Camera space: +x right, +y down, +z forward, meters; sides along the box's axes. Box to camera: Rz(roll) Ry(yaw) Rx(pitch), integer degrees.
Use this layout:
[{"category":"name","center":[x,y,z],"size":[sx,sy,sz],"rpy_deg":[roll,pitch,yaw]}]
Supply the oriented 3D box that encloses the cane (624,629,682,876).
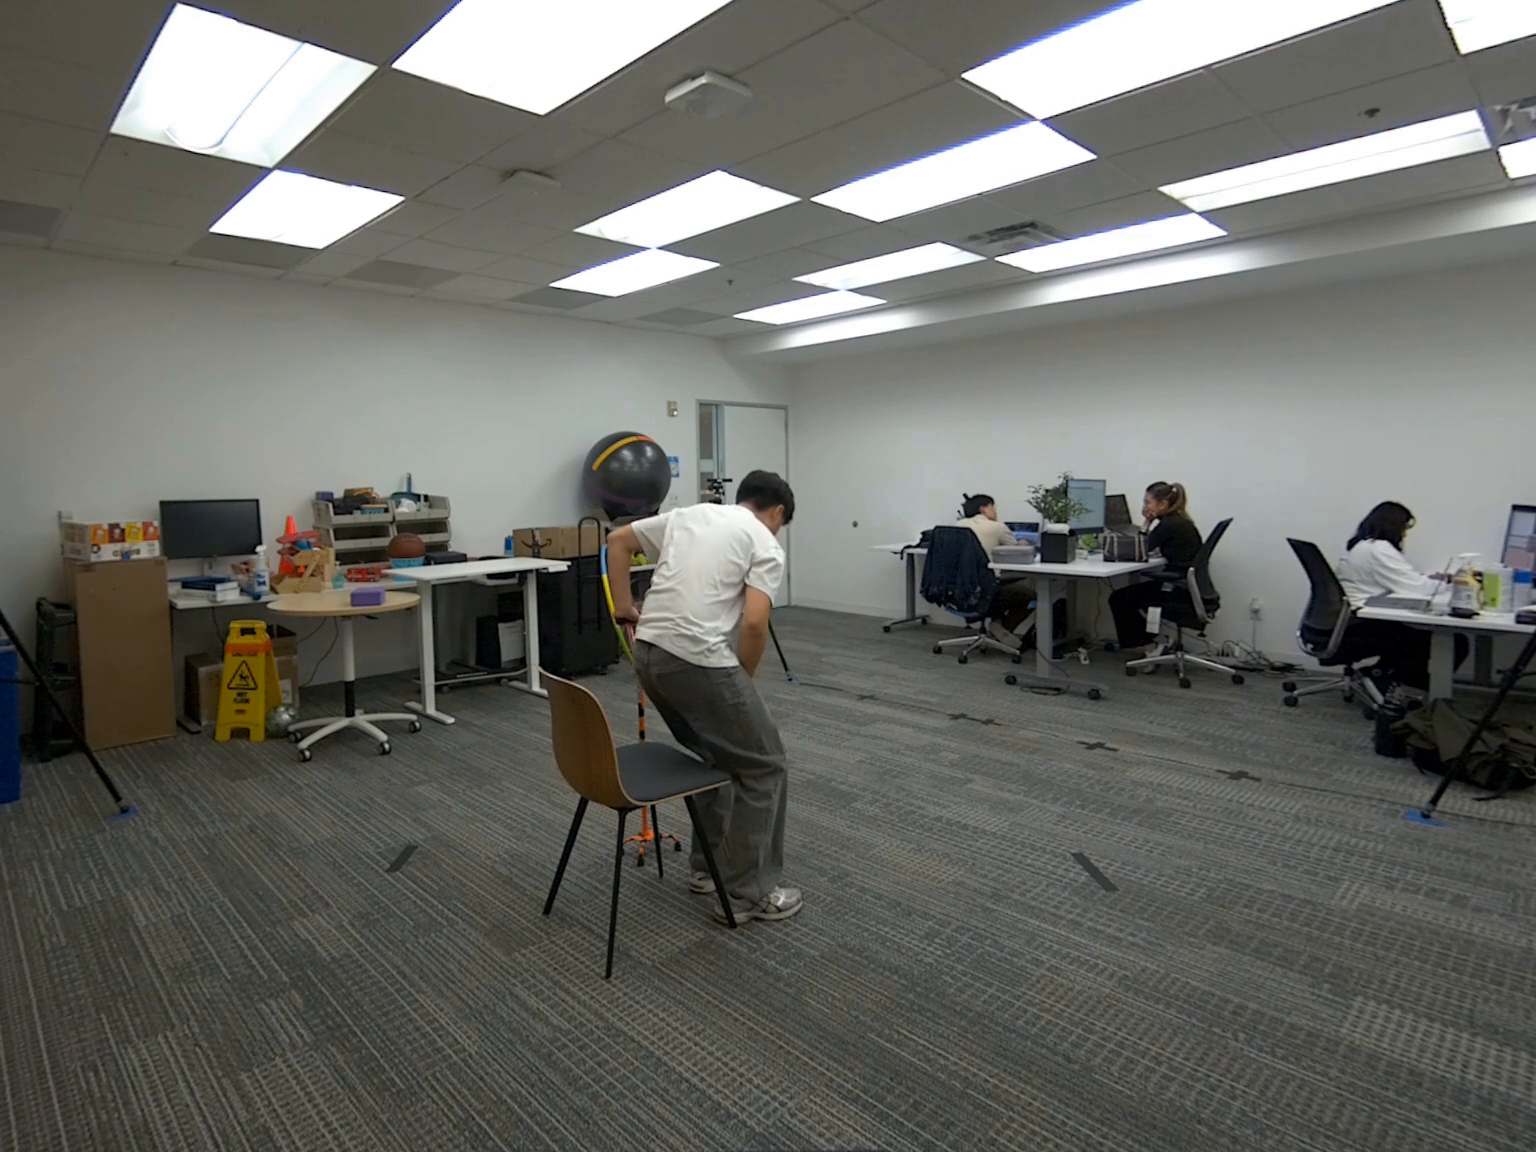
[{"category":"cane","center":[-0.453,0.585,3.190],"size":[0.201,0.905,0.156],"rpy_deg":[-5,4,-43]}]
